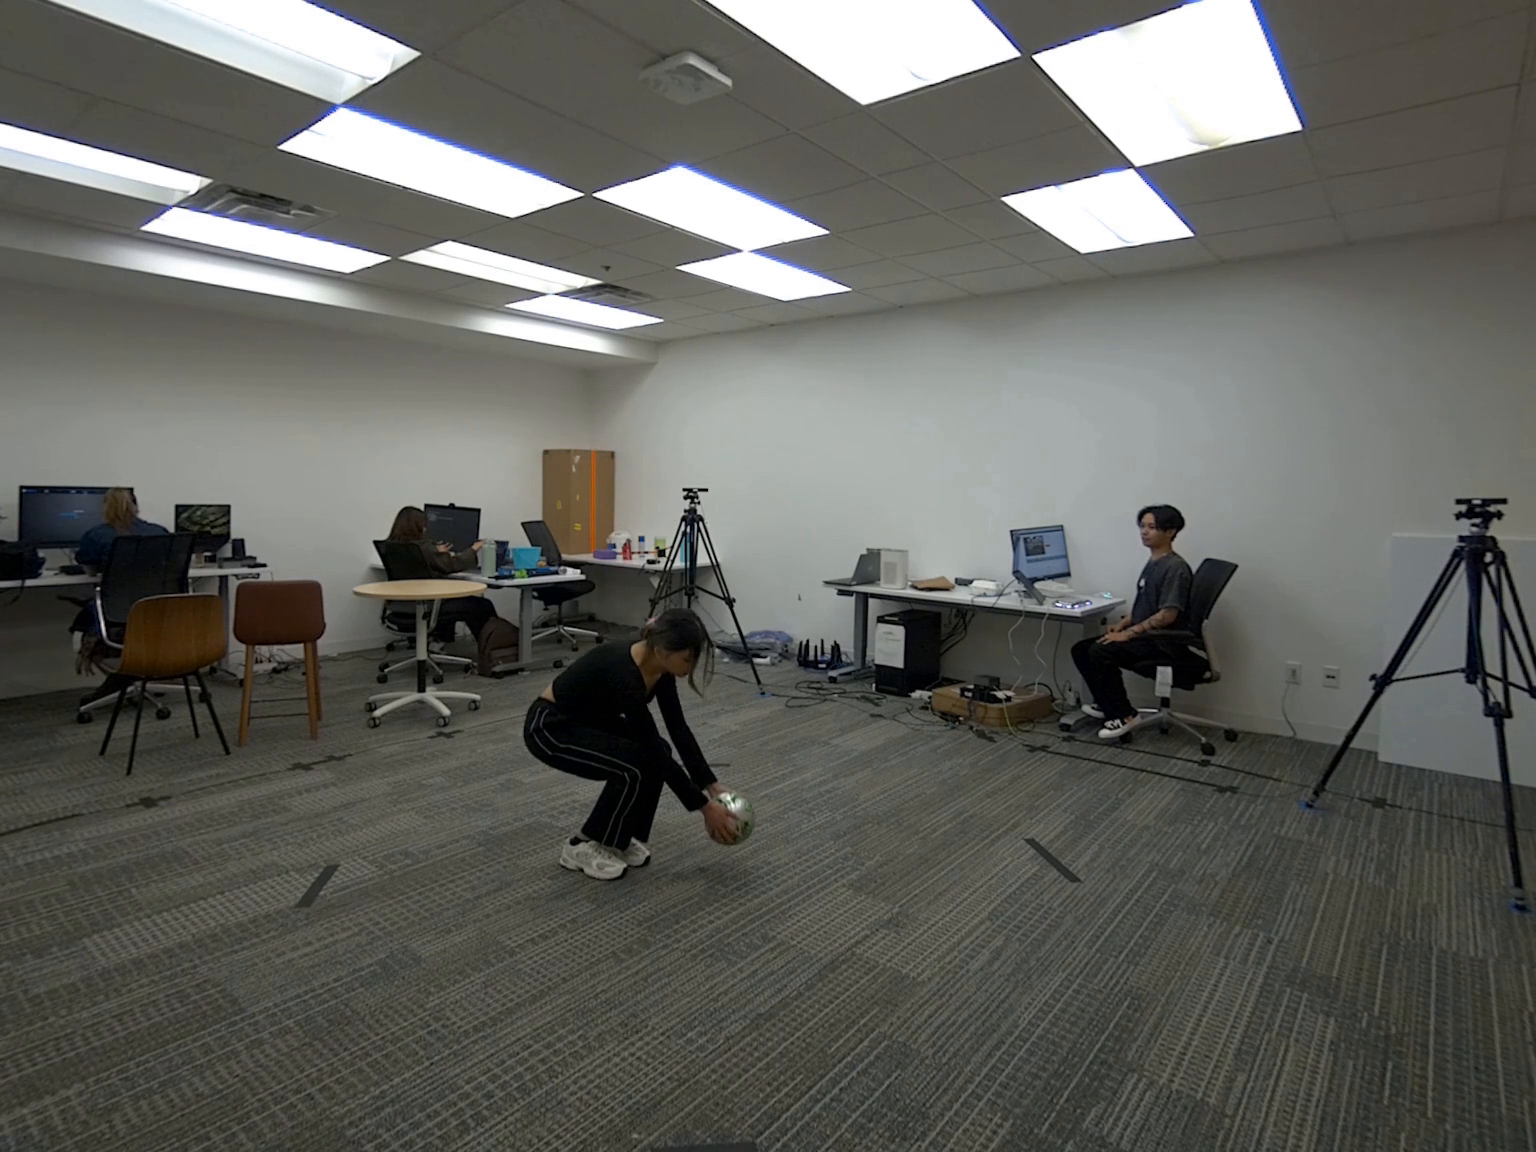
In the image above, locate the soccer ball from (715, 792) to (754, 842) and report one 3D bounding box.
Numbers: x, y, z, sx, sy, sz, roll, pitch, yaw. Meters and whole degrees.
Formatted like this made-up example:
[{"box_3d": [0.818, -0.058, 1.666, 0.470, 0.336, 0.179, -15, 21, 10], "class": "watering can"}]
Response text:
[{"box_3d": [-0.149, 0.860, 3.086, 0.187, 0.187, 0.188, 1, 4, -2], "class": "soccer ball"}]
